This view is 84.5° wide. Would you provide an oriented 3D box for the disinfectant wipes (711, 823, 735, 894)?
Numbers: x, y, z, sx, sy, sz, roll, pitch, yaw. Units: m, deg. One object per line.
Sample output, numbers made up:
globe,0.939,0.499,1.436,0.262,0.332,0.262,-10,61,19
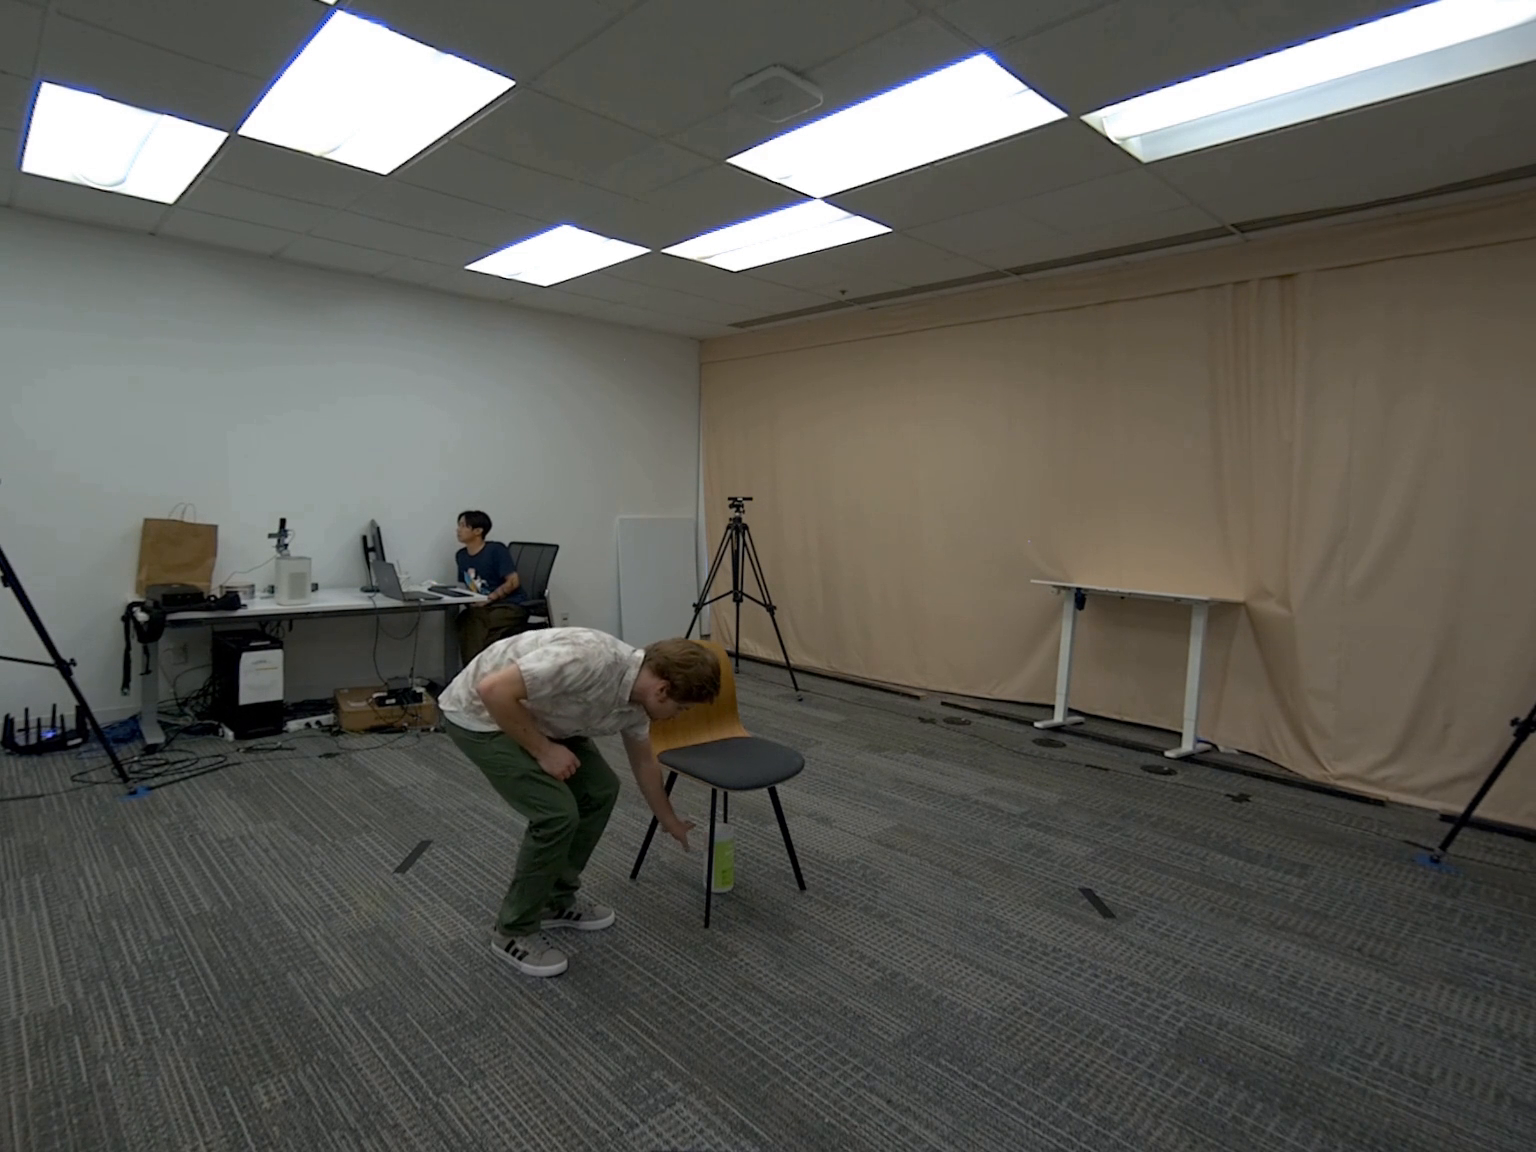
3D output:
disinfectant wipes,-0.183,1.018,3.000,0.118,0.218,0.118,0,-1,-1
